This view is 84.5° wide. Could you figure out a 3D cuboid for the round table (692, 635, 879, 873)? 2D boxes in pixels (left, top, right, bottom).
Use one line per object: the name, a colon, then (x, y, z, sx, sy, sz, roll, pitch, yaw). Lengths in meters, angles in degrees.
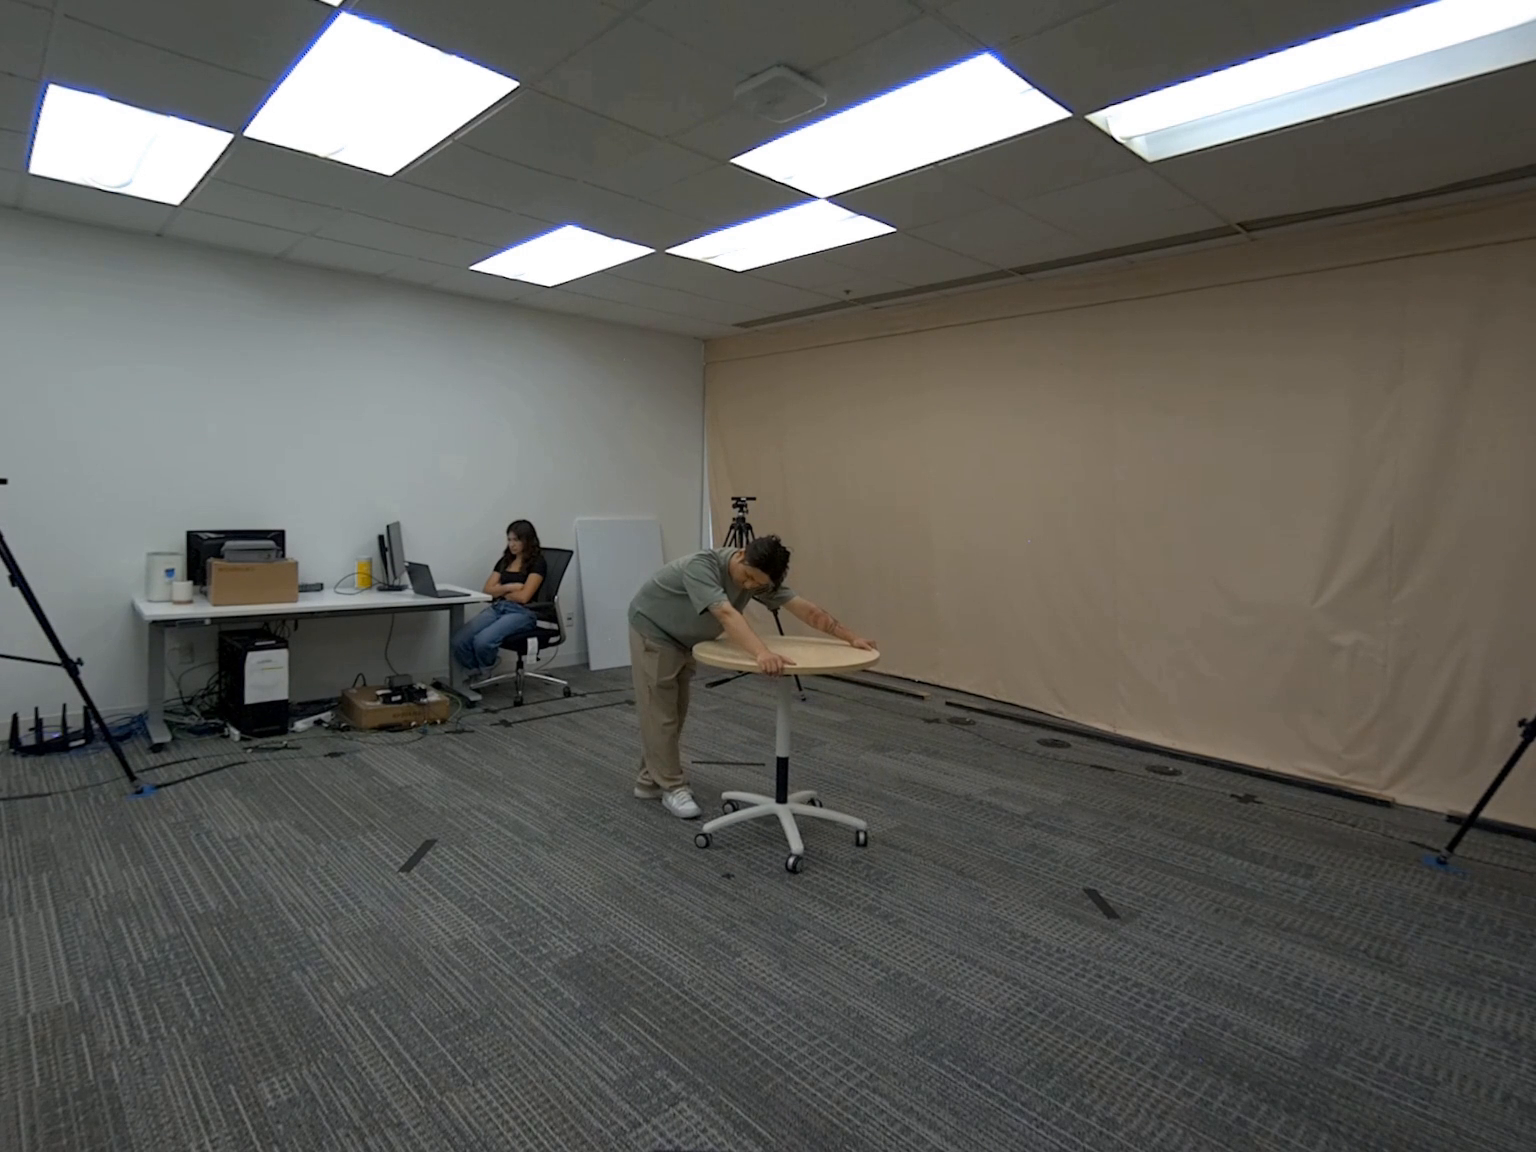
round table: (0.069, 0.689, 3.480, 0.784, 0.785, 0.787, 2, 3, -1)
